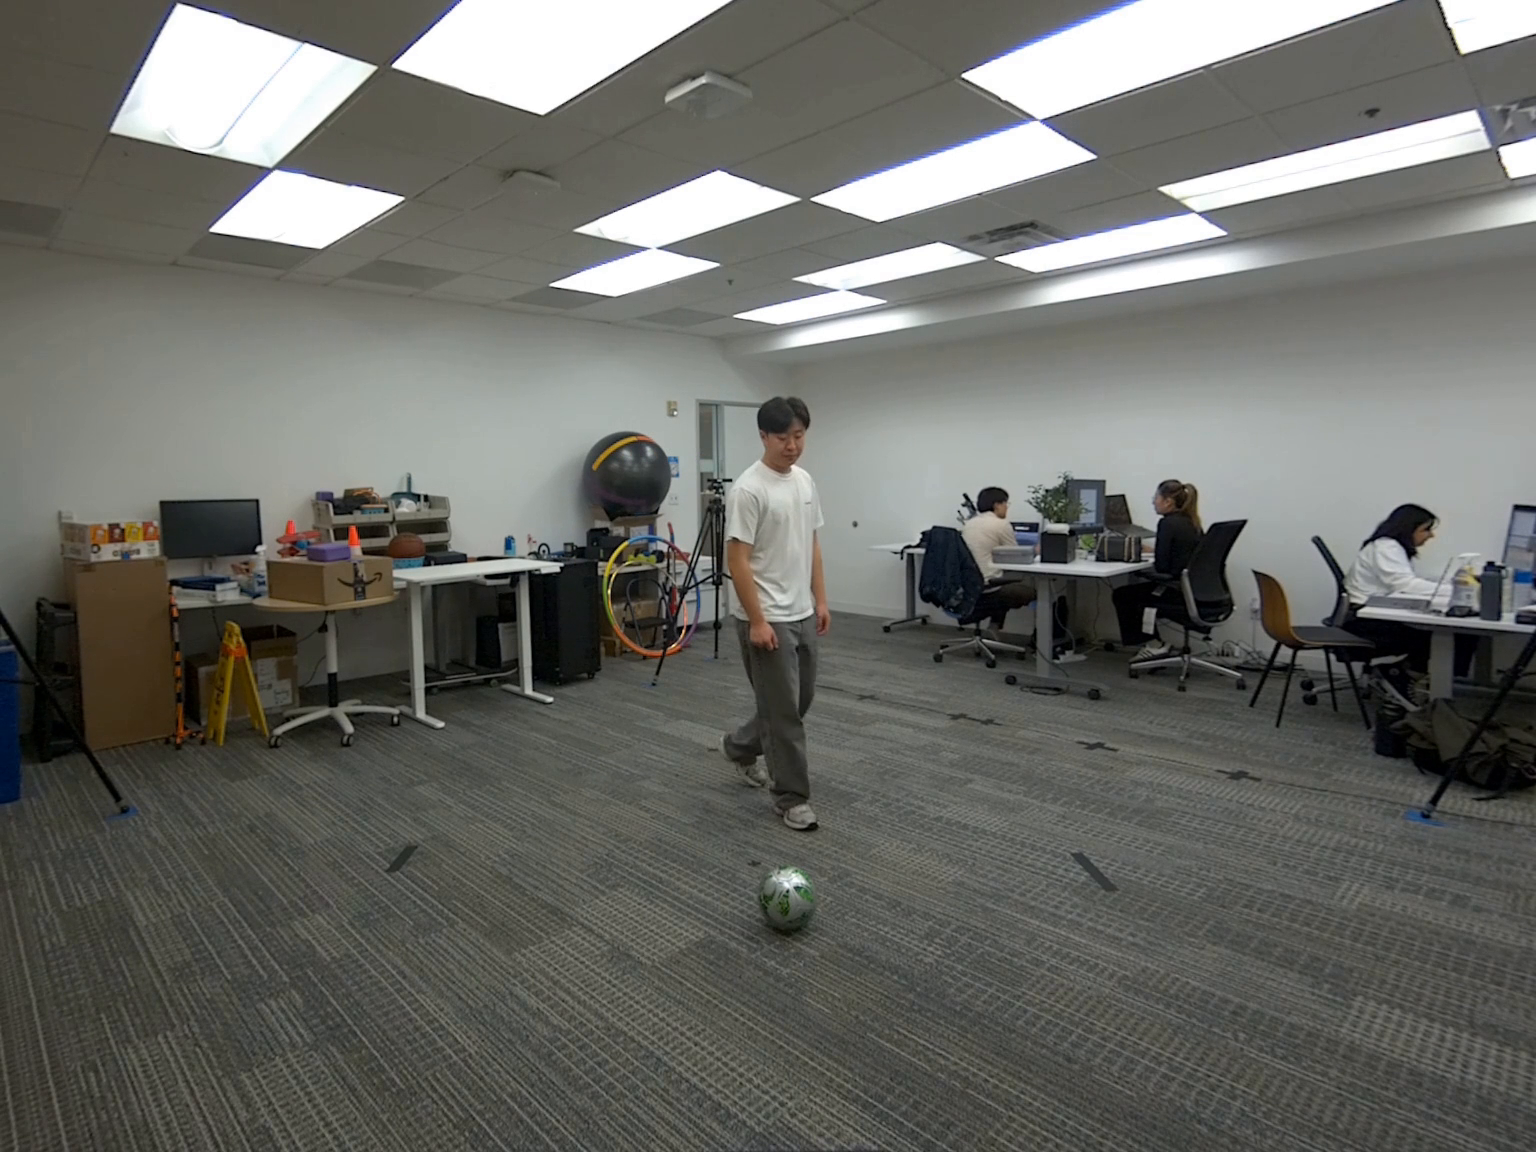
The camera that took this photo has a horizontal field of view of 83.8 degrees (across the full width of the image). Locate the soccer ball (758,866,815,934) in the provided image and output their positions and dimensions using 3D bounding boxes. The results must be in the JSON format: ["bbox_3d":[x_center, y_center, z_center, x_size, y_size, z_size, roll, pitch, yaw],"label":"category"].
[{"bbox_3d":[0.062,1.005,2.667,0.187,0.187,0.188,-1,5,-2],"label":"soccer ball"}]
